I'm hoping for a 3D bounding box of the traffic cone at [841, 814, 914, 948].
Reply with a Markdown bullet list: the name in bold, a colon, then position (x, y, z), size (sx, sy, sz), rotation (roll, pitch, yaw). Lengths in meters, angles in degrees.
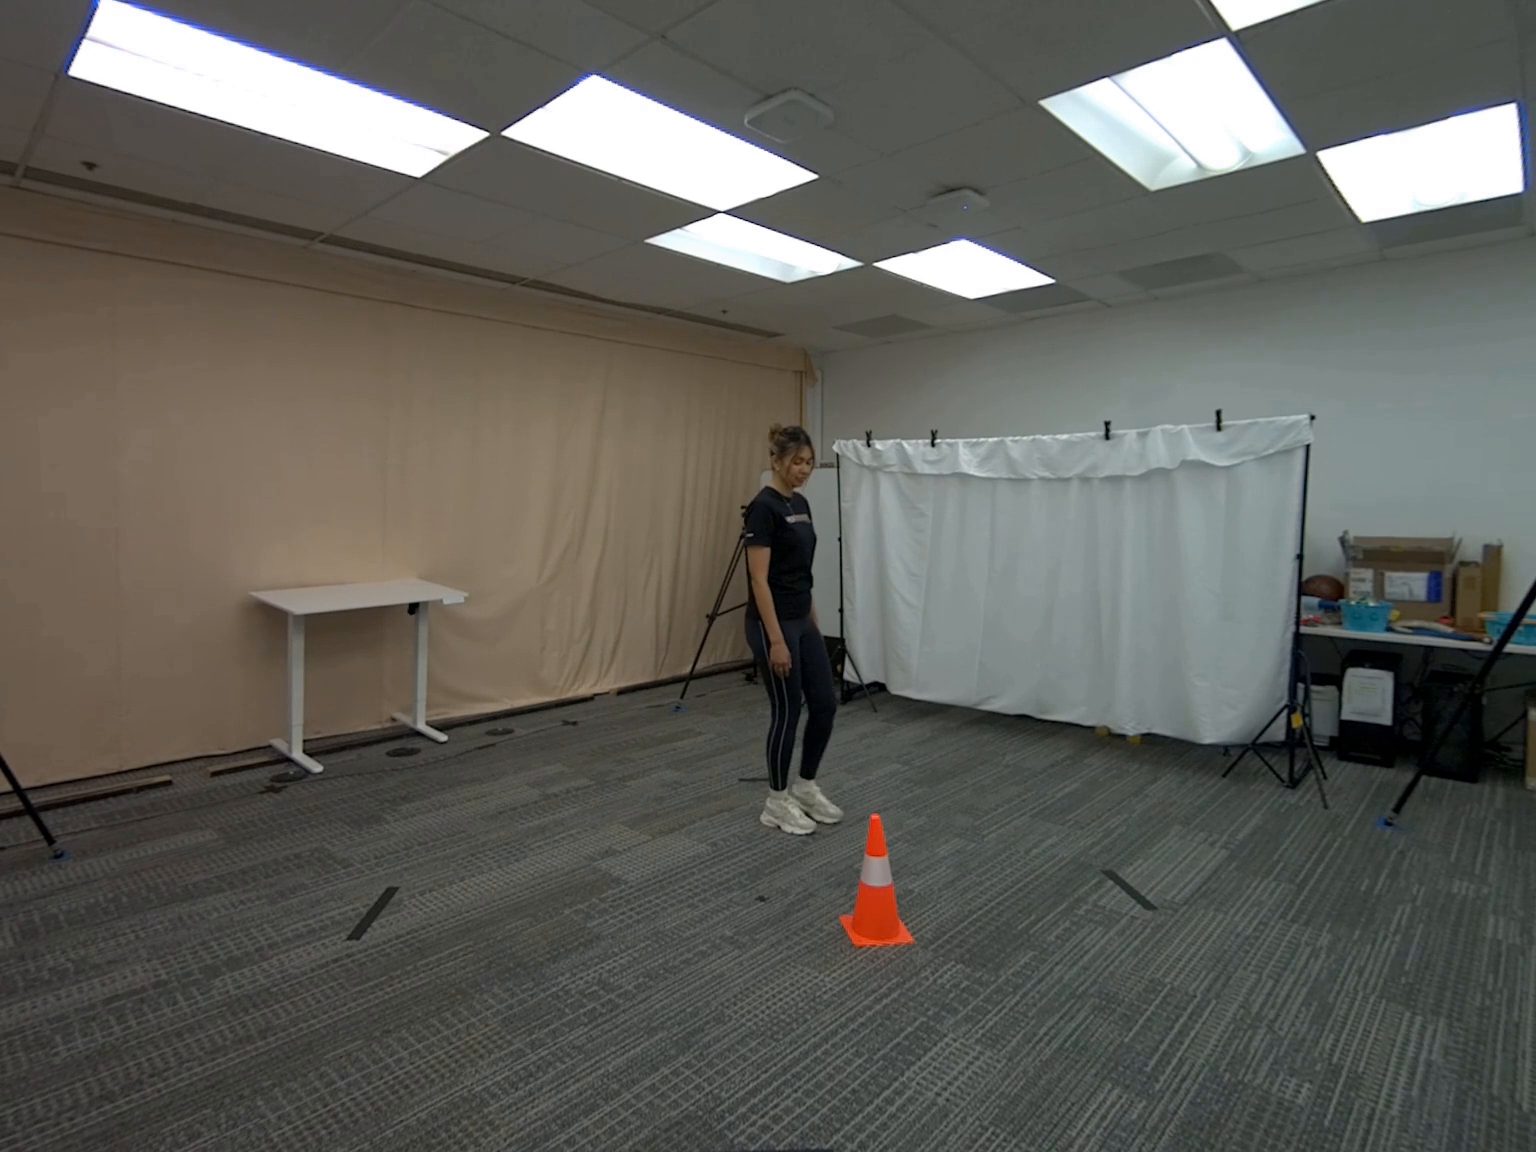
- **traffic cone**: position (0.358, 0.972, 2.761), size (0.201, 0.383, 0.208), rotation (0, 3, -11)
